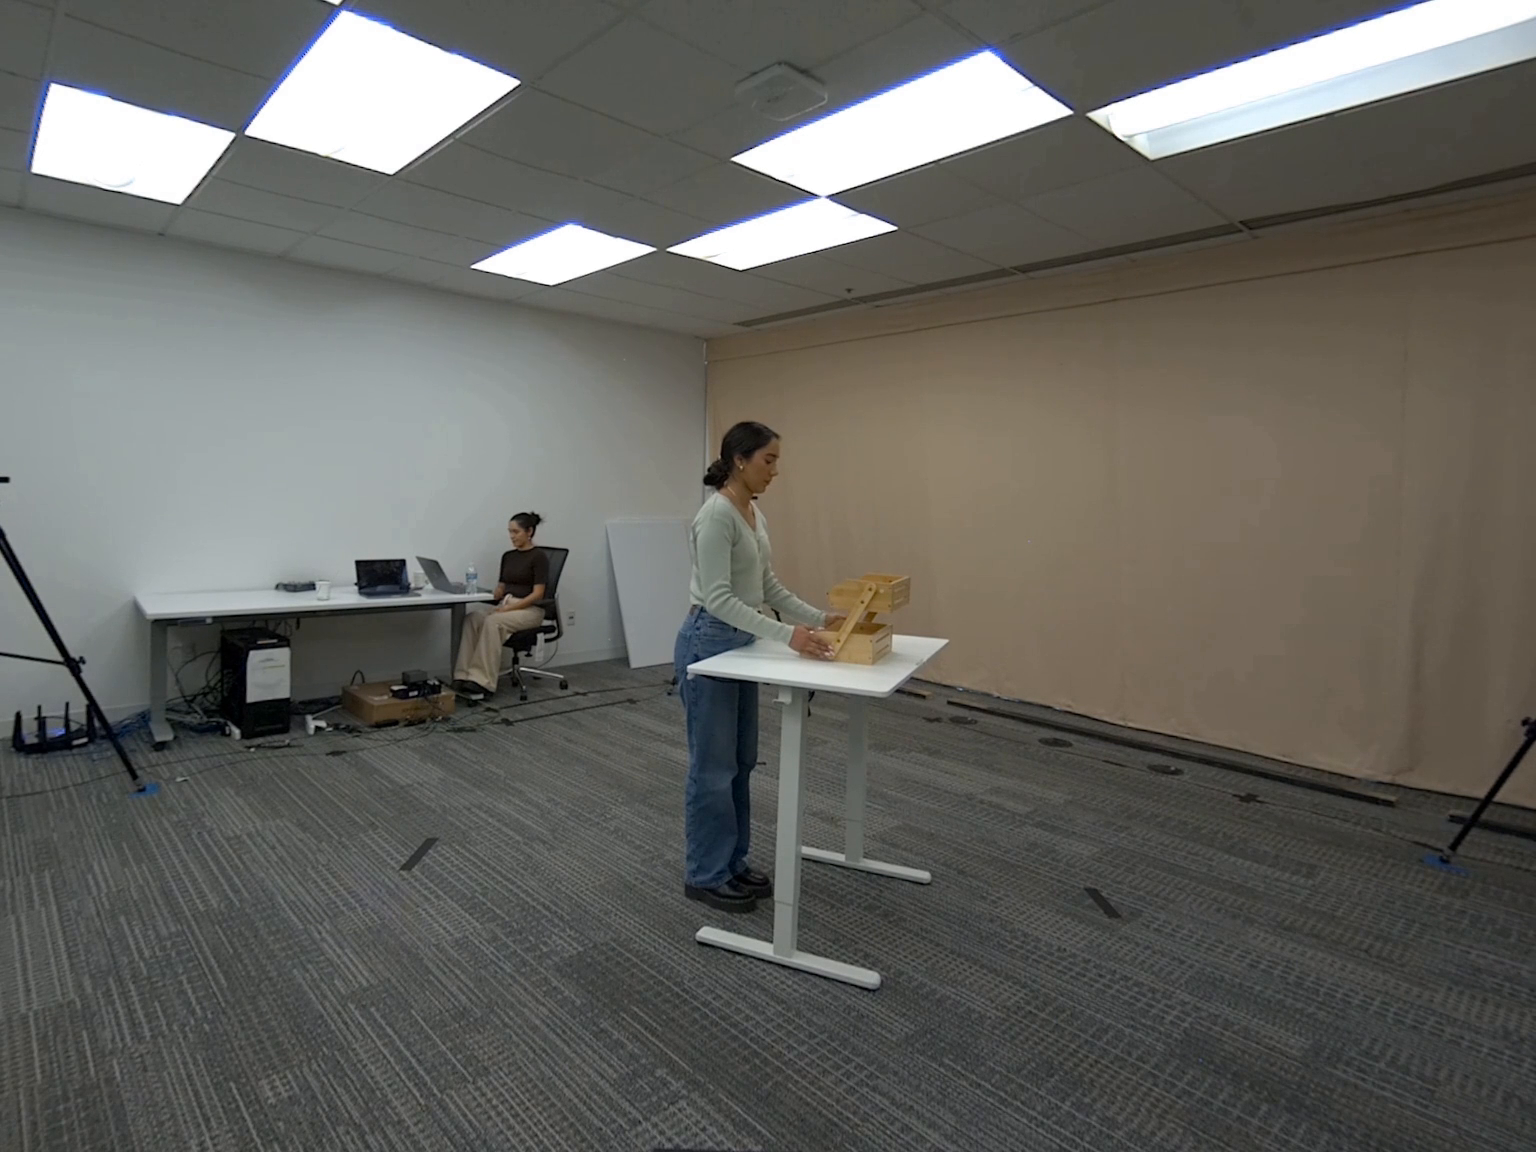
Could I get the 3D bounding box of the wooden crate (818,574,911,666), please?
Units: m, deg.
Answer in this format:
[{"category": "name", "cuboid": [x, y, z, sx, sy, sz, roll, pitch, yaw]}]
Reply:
[{"category": "wooden crate", "cuboid": [0.270, 0.127, 2.767, 0.307, 0.272, 0.320, 5, 5, 21]}]
